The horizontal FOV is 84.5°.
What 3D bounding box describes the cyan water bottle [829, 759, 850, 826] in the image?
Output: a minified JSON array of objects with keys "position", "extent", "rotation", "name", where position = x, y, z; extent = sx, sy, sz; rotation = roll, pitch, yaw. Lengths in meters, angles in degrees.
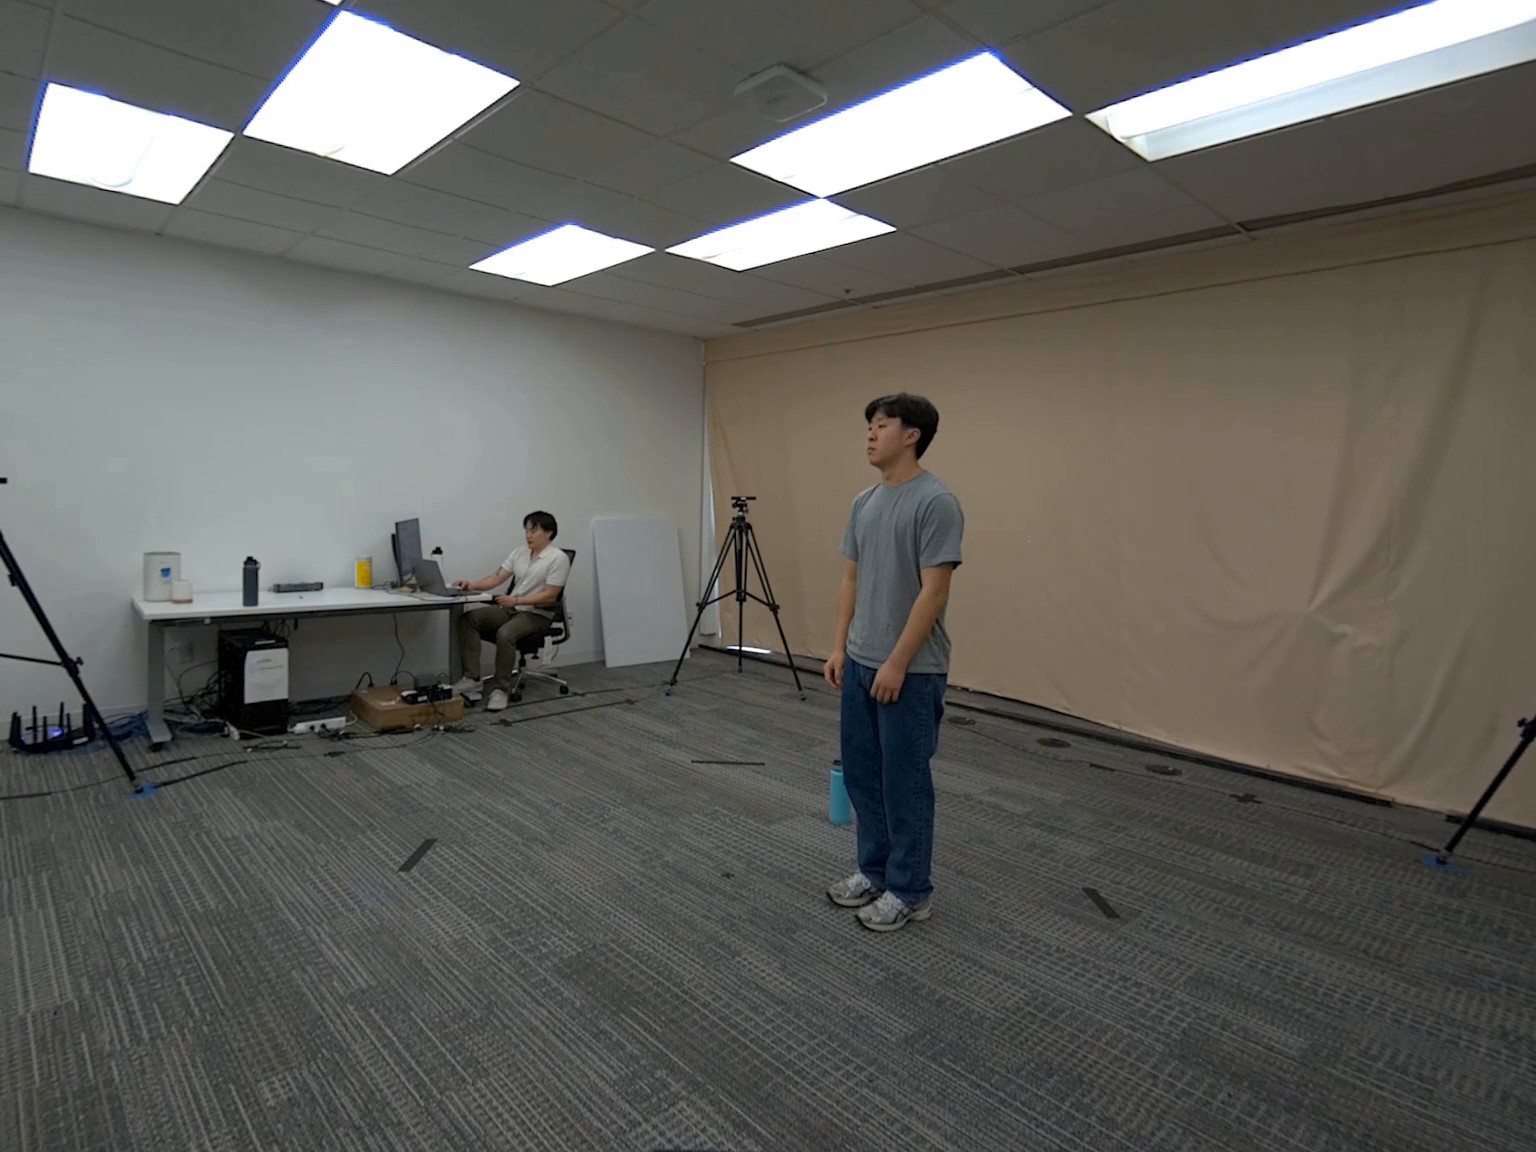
[{"position":[0.304,0.930,3.666],"extent":[0.092,0.283,0.092],"rotation":[2,3,-1],"name":"cyan water bottle"}]
